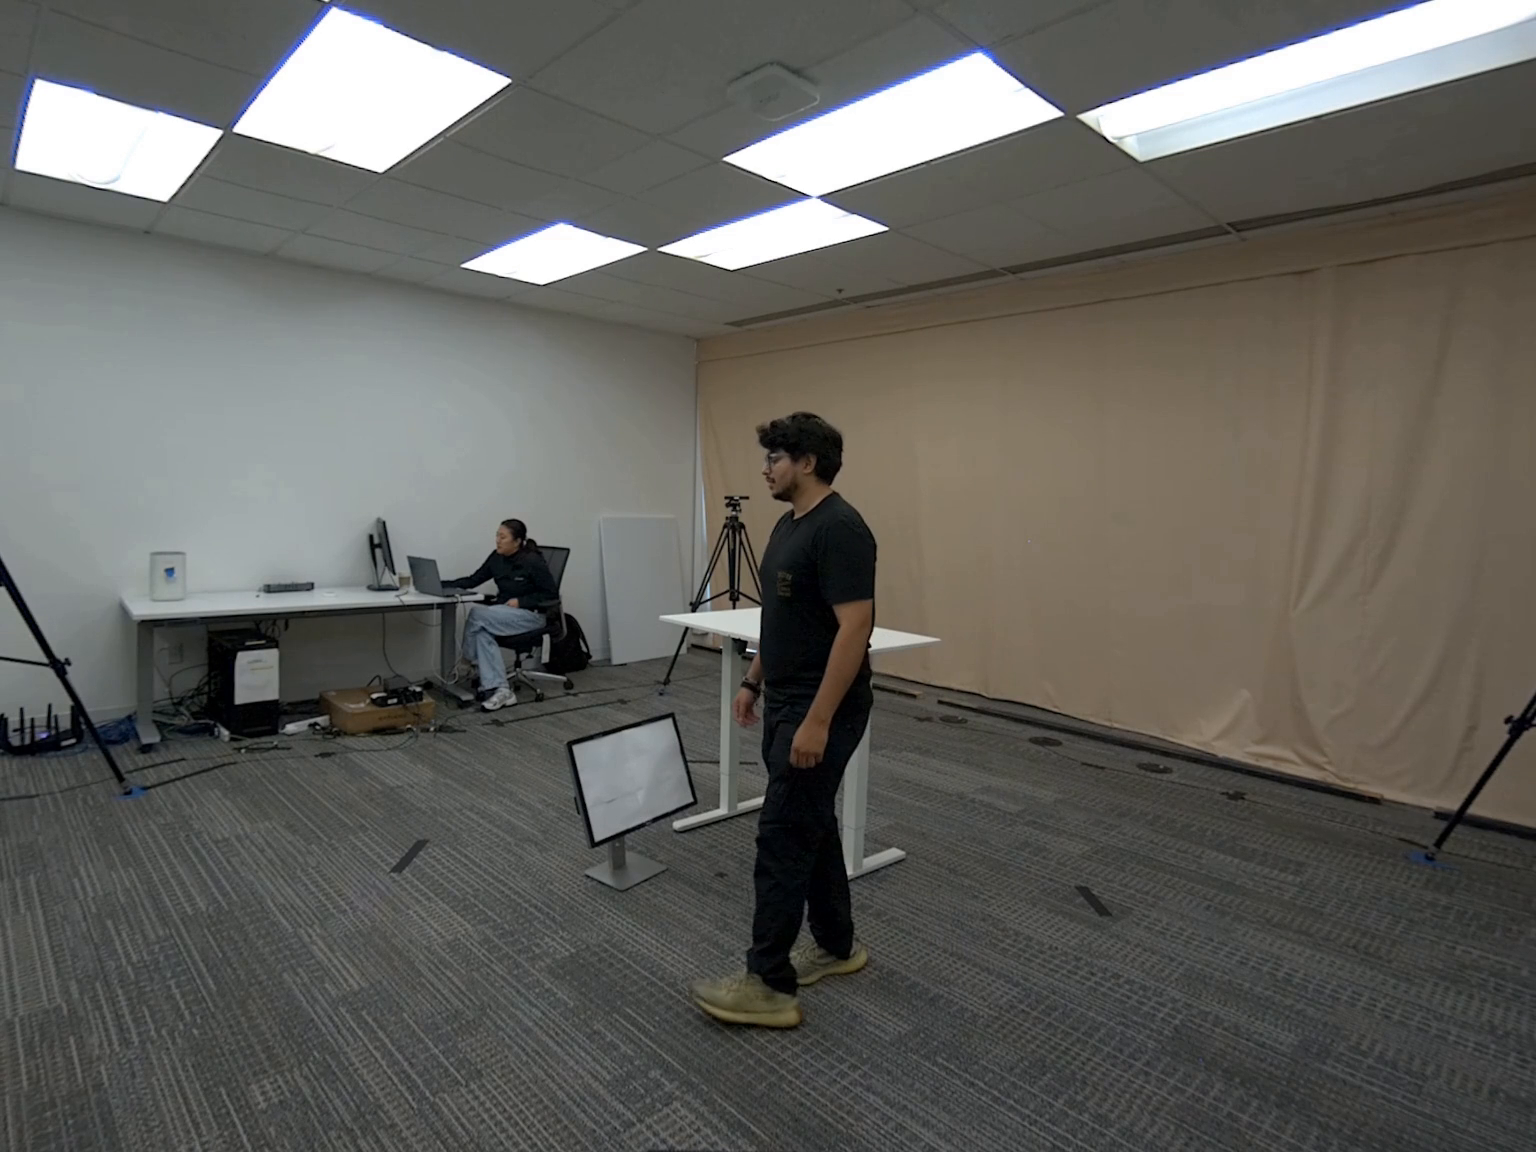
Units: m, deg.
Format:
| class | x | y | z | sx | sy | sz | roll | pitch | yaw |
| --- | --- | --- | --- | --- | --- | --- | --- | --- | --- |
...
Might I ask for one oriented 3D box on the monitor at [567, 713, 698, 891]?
| class | x | y | z | sx | sy | sz | roll | pitch | yaw |
| --- | --- | --- | --- | --- | --- | --- | --- | --- | --- |
| monitor | -0.546 | 0.829 | 3.108 | 0.214 | 0.555 | 0.553 | -9 | -3 | 35 |
